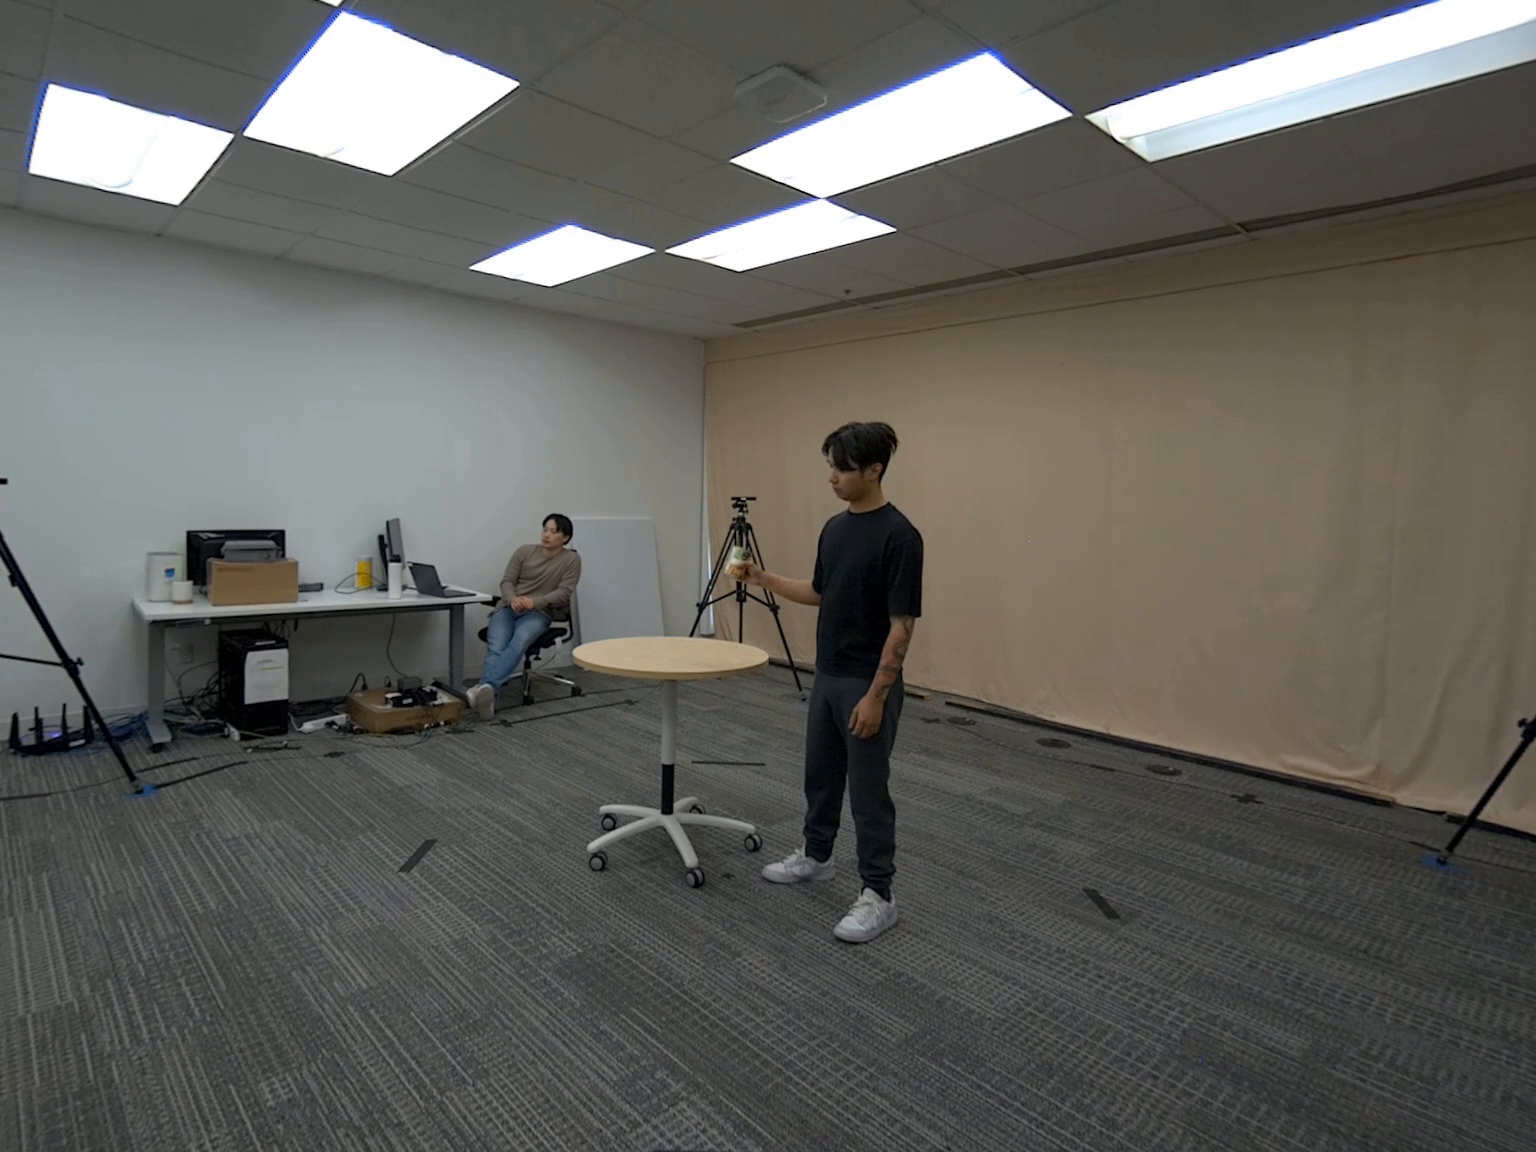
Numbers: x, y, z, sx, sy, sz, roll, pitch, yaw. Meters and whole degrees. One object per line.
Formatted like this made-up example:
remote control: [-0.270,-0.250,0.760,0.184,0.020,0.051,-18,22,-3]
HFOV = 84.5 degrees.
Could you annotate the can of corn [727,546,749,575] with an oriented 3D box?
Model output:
can of corn: [-0.110,-0.047,3.061,0.074,0.111,0.074,17,-5,0]
